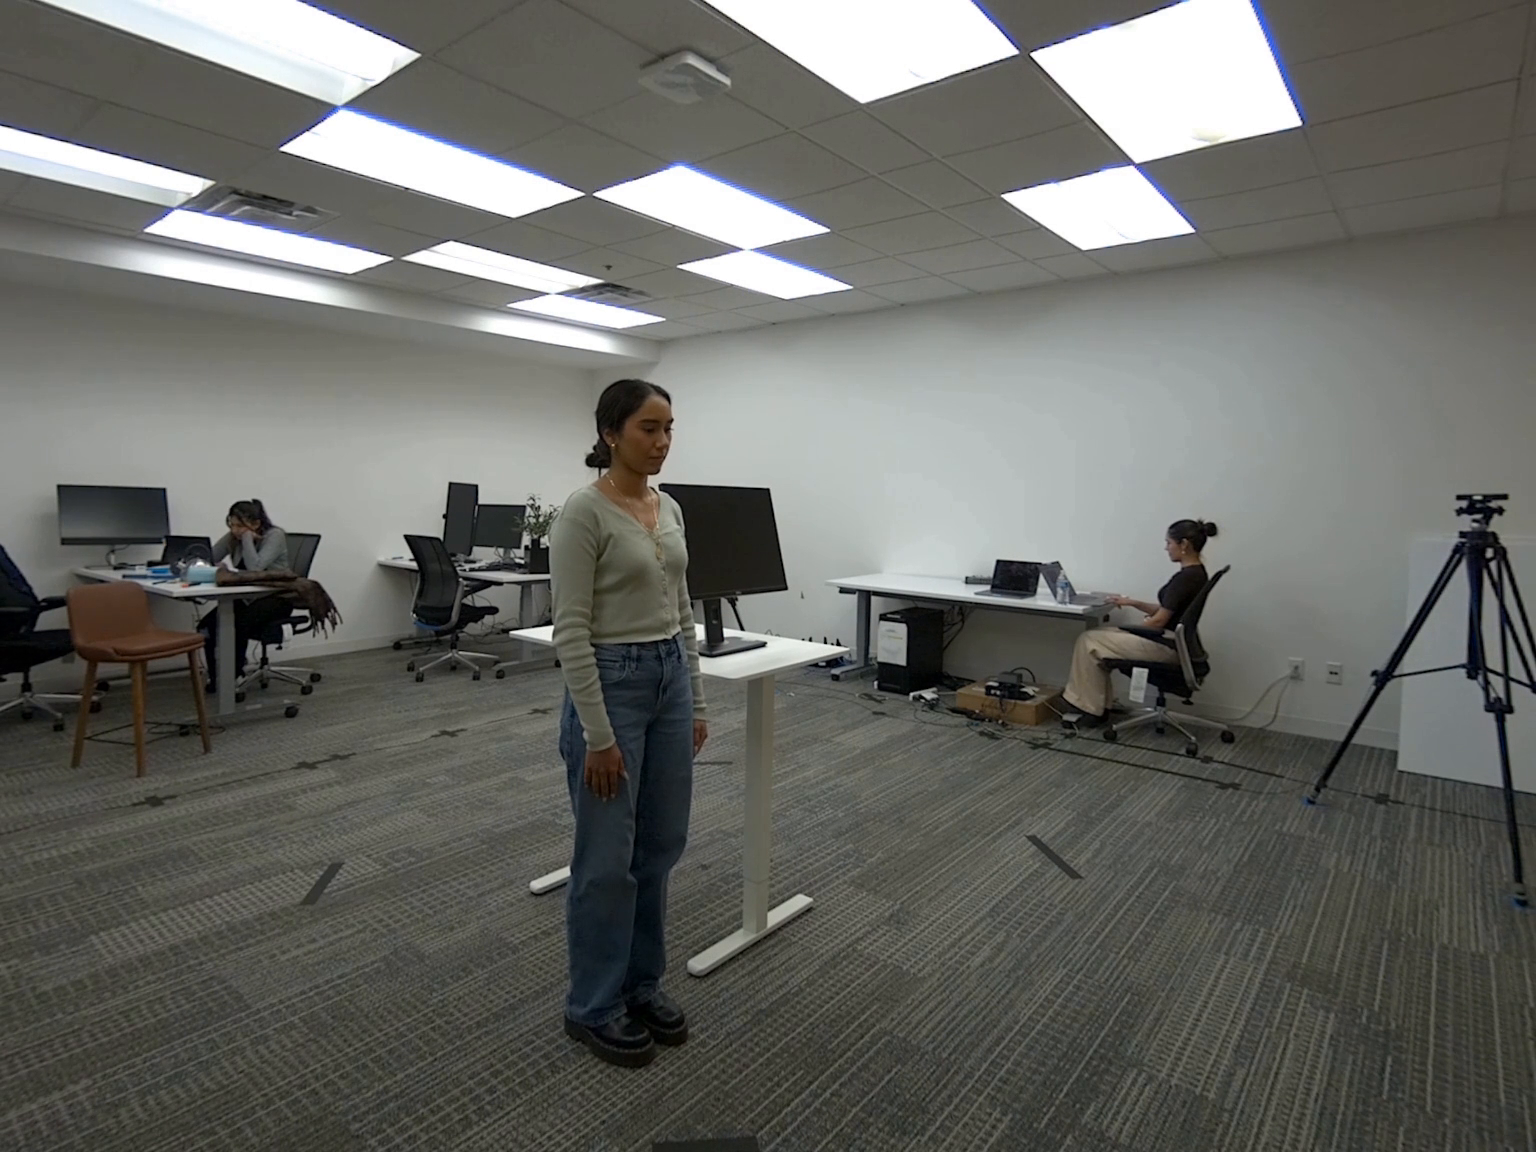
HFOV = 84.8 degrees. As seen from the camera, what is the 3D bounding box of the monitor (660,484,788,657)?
[{"bbox_3d":[-0.161,-0.024,2.696,0.193,0.522,0.523,0,2,37],"label":"monitor"}]
